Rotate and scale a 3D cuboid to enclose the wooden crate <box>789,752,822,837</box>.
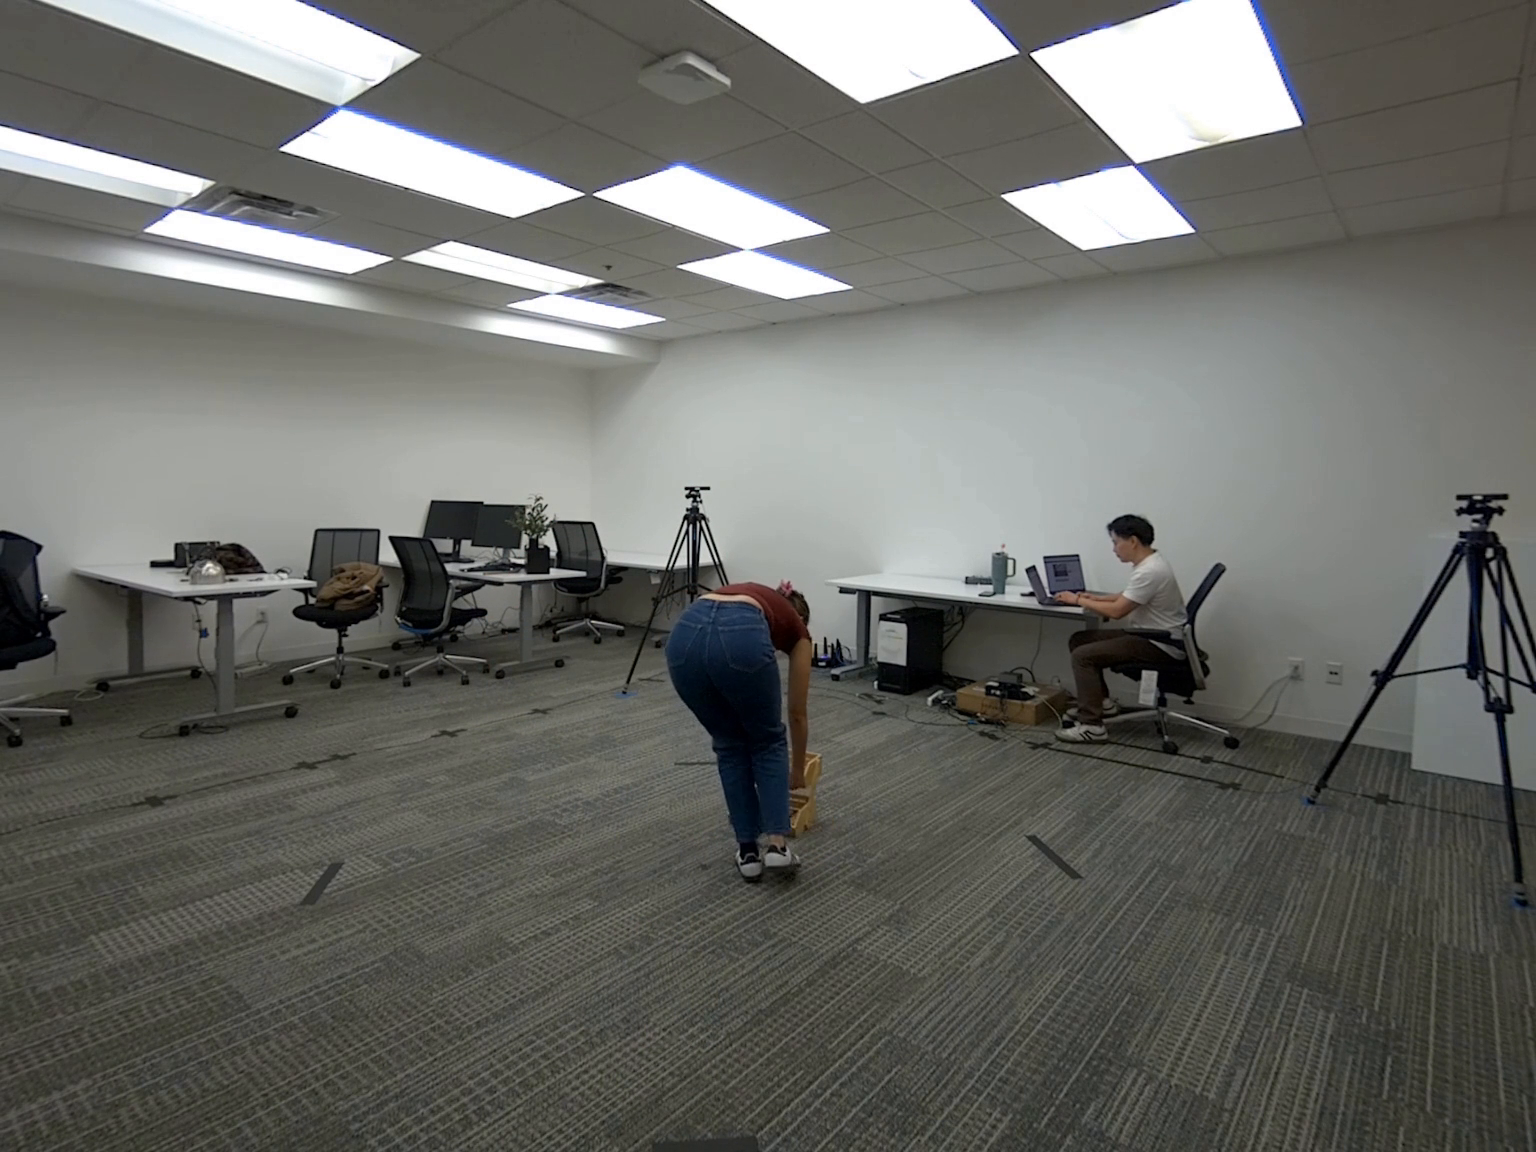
[{"bbox_3d":[0.021,0.885,3.570,0.333,0.272,0.295,3,5,25],"label":"wooden crate"}]
